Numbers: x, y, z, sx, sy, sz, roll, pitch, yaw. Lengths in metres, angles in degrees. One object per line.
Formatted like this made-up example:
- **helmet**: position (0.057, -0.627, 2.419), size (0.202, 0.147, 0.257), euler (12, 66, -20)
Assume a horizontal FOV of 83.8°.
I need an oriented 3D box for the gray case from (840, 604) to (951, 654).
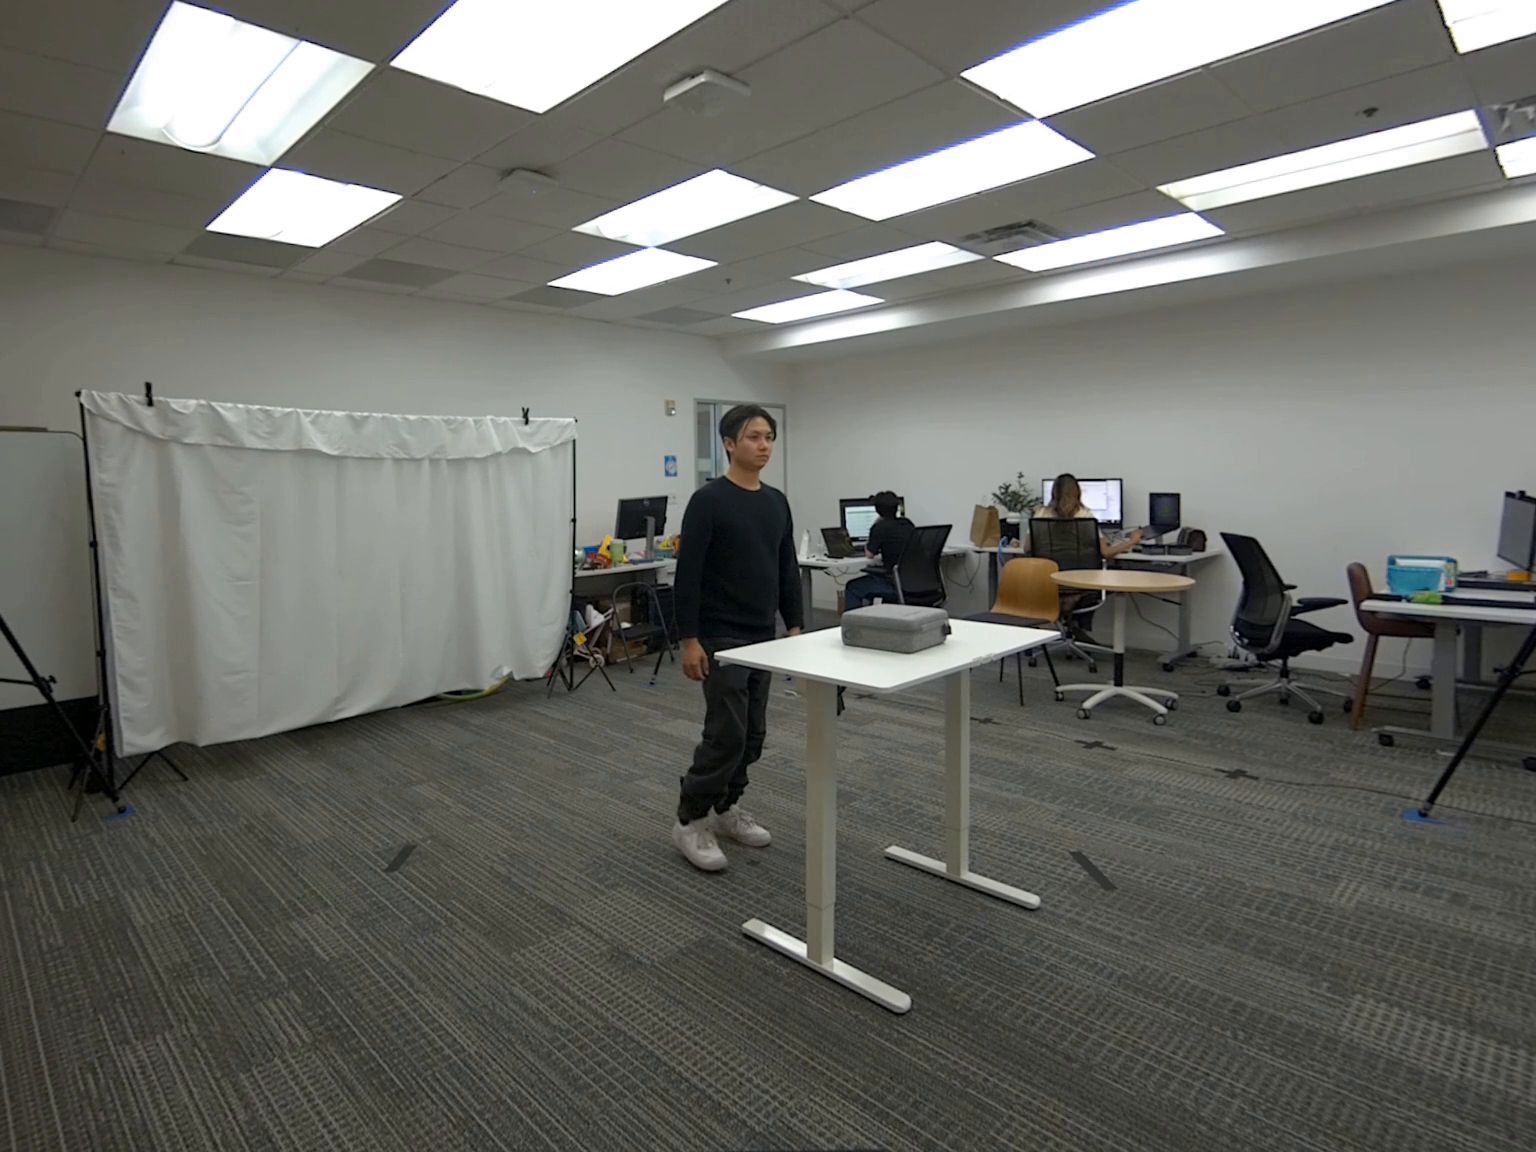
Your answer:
- **gray case**: position (0.385, 0.158, 2.615), size (0.268, 0.104, 0.250), euler (4, 8, 40)
